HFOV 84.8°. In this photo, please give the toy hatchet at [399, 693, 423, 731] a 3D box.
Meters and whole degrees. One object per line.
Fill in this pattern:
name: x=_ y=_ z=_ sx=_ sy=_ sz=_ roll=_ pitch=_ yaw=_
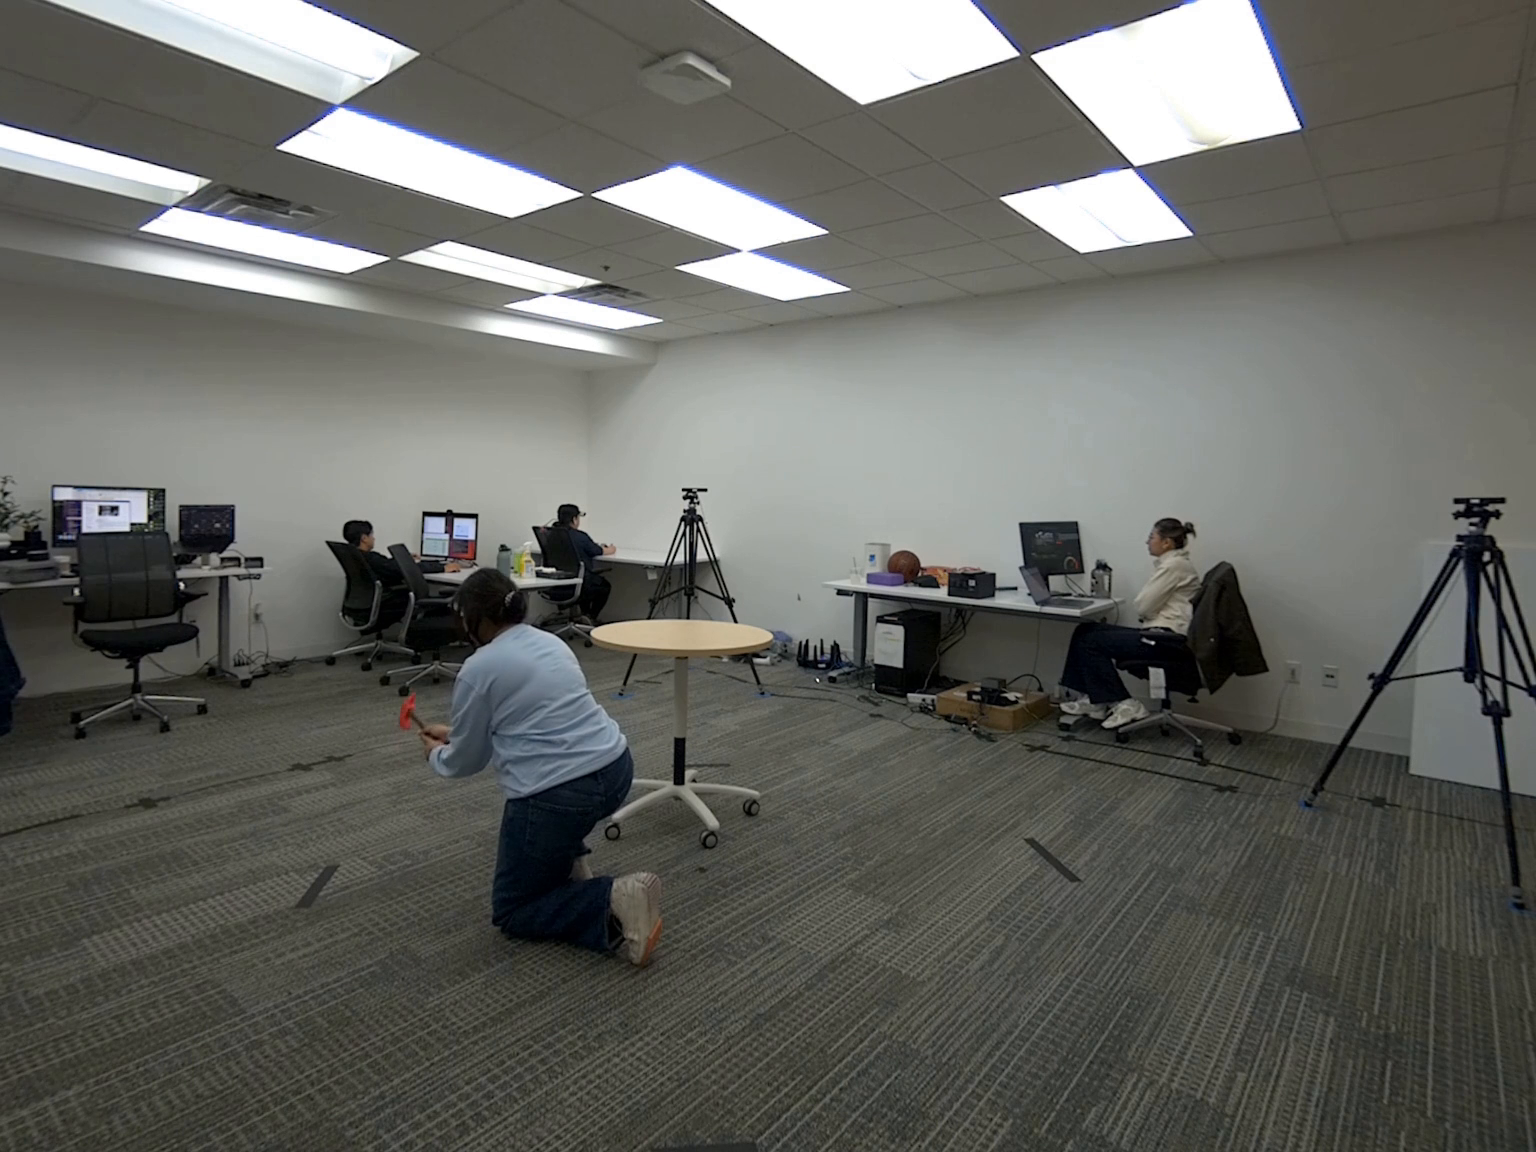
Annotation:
toy hatchet: x=-1.255 y=0.569 z=3.014 sx=0.028 sy=0.131 sz=0.280 roll=15 pitch=35 yaw=-50
